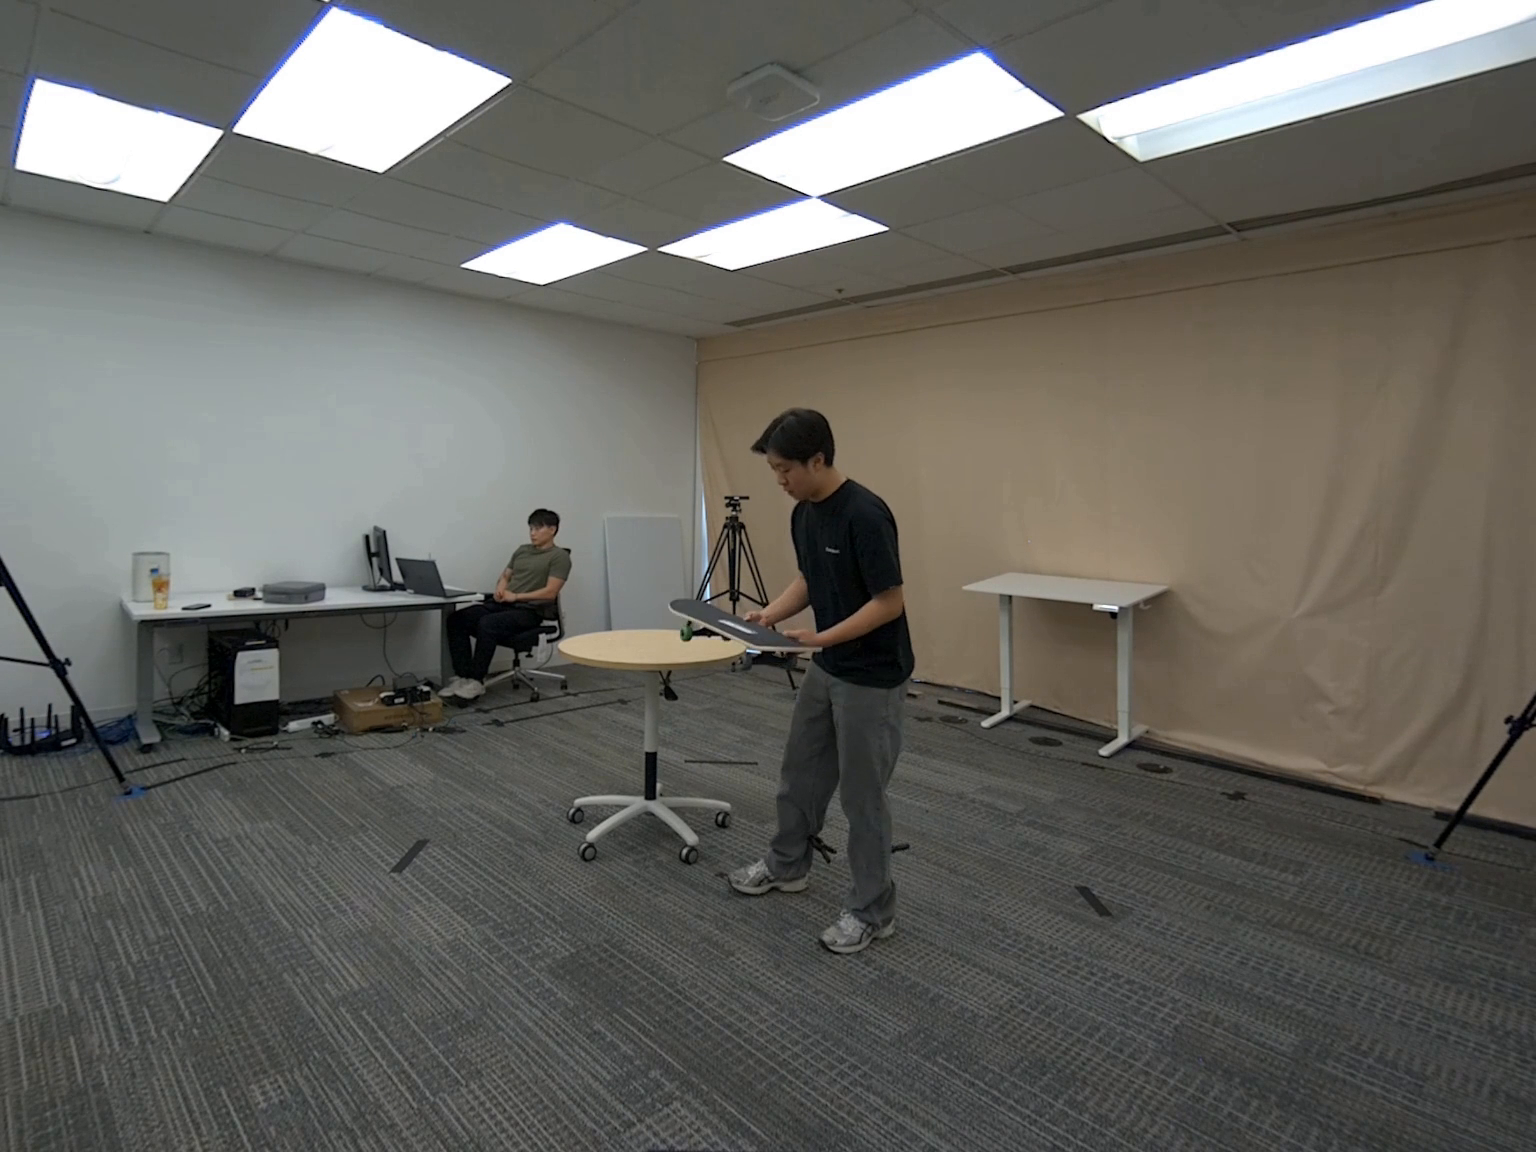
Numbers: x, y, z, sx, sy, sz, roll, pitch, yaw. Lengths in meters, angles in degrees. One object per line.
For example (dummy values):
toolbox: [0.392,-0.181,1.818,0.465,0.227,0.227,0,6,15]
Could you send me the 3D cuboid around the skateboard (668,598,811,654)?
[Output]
skateboard: [-0.109,0.212,2.625,0.189,0.110,0.805,2,6,-31]
